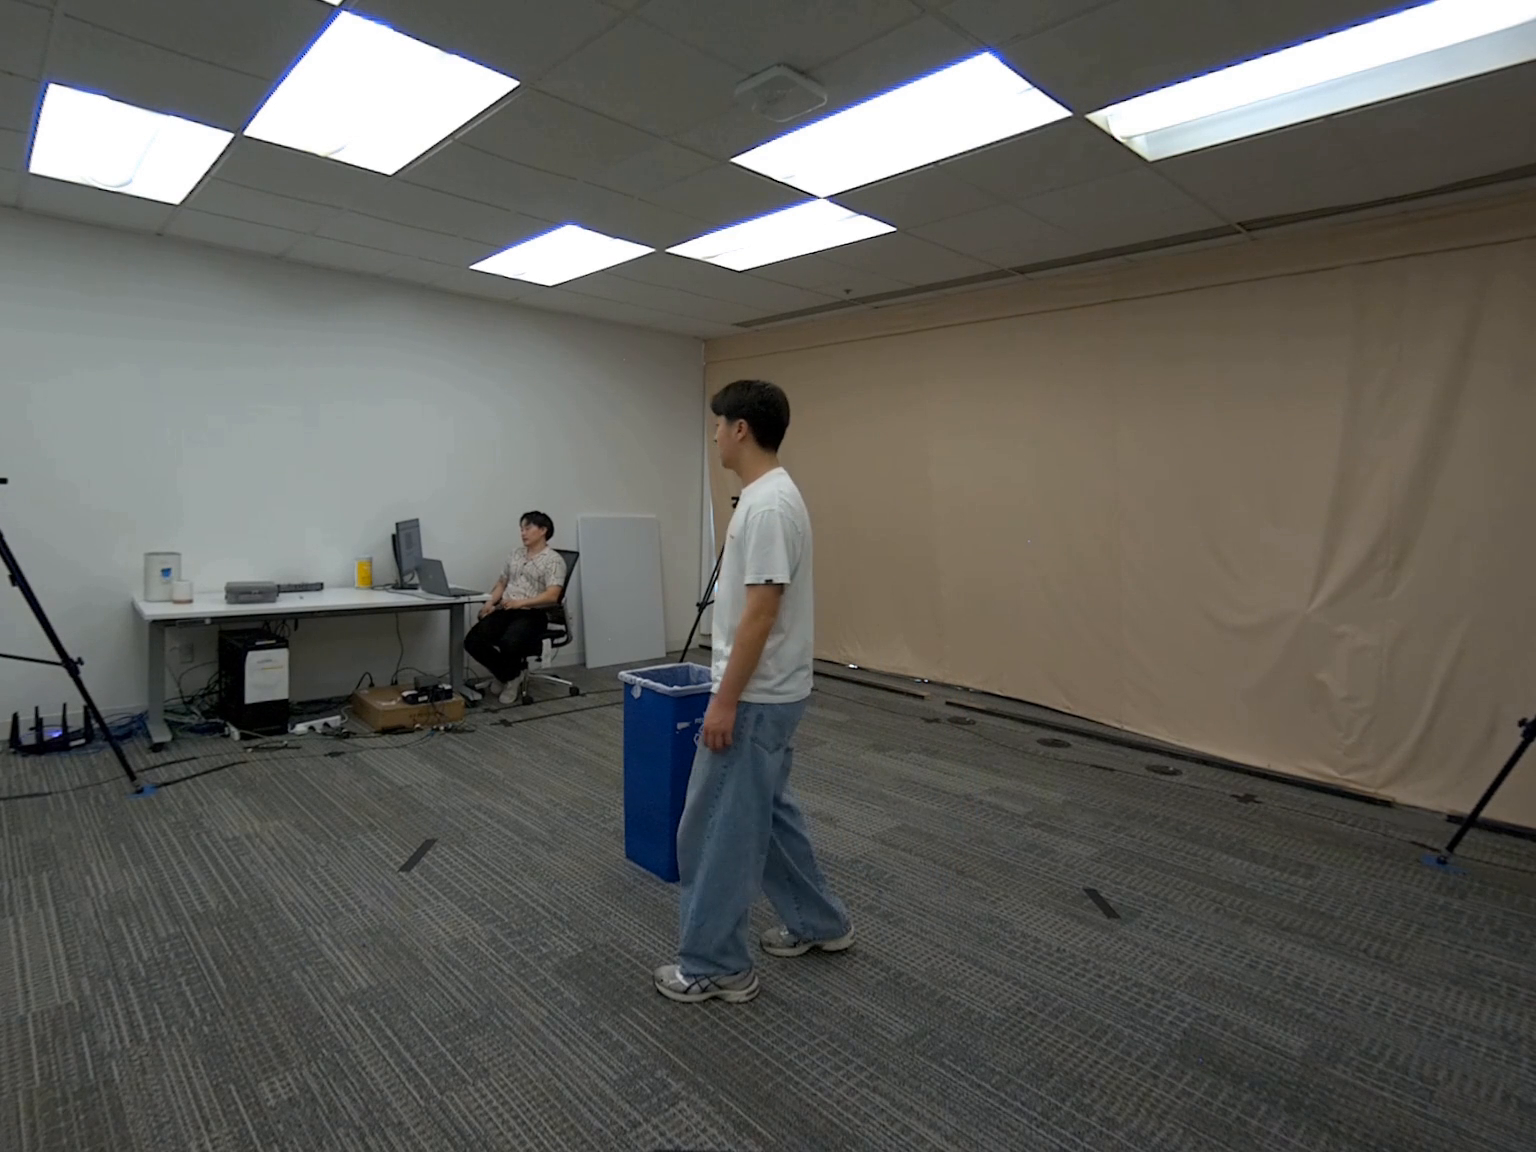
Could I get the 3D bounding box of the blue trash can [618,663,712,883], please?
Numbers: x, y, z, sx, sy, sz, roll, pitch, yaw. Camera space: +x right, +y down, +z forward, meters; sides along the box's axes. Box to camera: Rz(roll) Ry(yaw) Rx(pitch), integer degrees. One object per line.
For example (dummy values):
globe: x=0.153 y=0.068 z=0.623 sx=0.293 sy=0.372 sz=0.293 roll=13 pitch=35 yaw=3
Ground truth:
blue trash can: x=-0.338 y=0.731 z=3.227 sx=0.365 sy=0.712 sz=0.388 roll=-2 pitch=5 yaw=-43
